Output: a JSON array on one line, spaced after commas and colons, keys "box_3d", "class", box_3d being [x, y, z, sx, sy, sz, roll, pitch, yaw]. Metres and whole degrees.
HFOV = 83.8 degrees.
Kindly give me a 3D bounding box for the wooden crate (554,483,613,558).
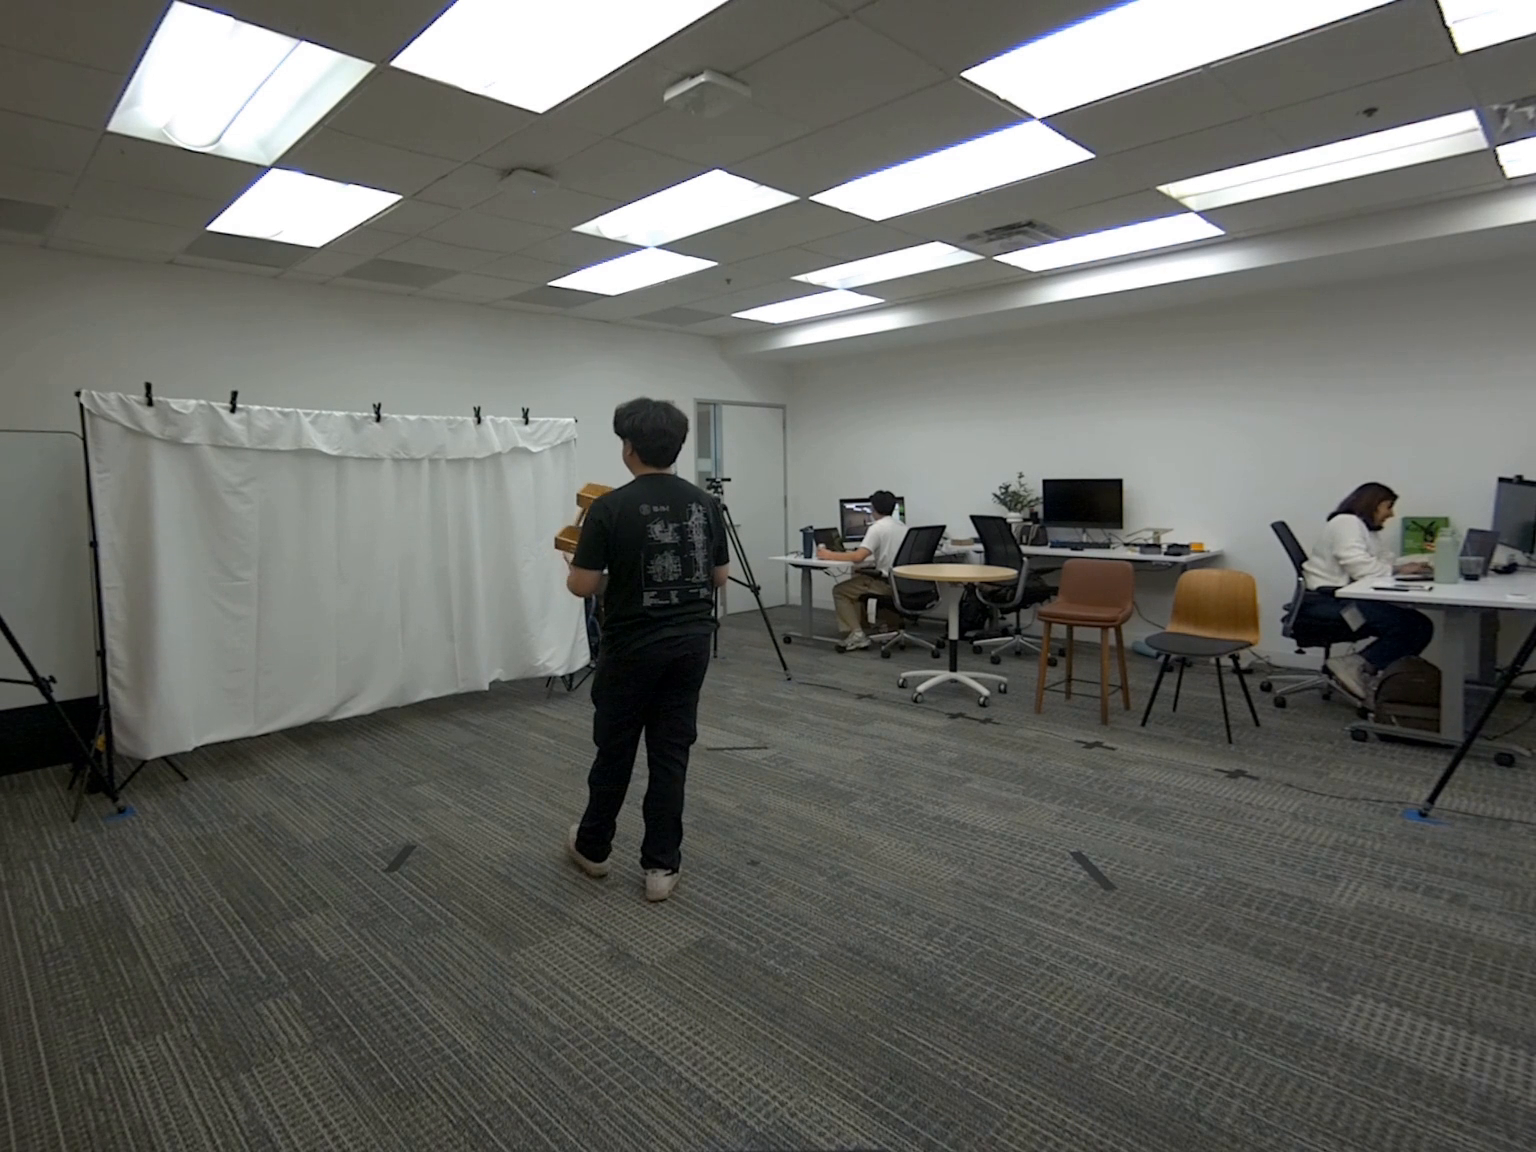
[{"box_3d": [-0.578, -0.190, 3.211, 0.330, 0.272, 0.297, 15, 5, 15], "class": "wooden crate"}]
